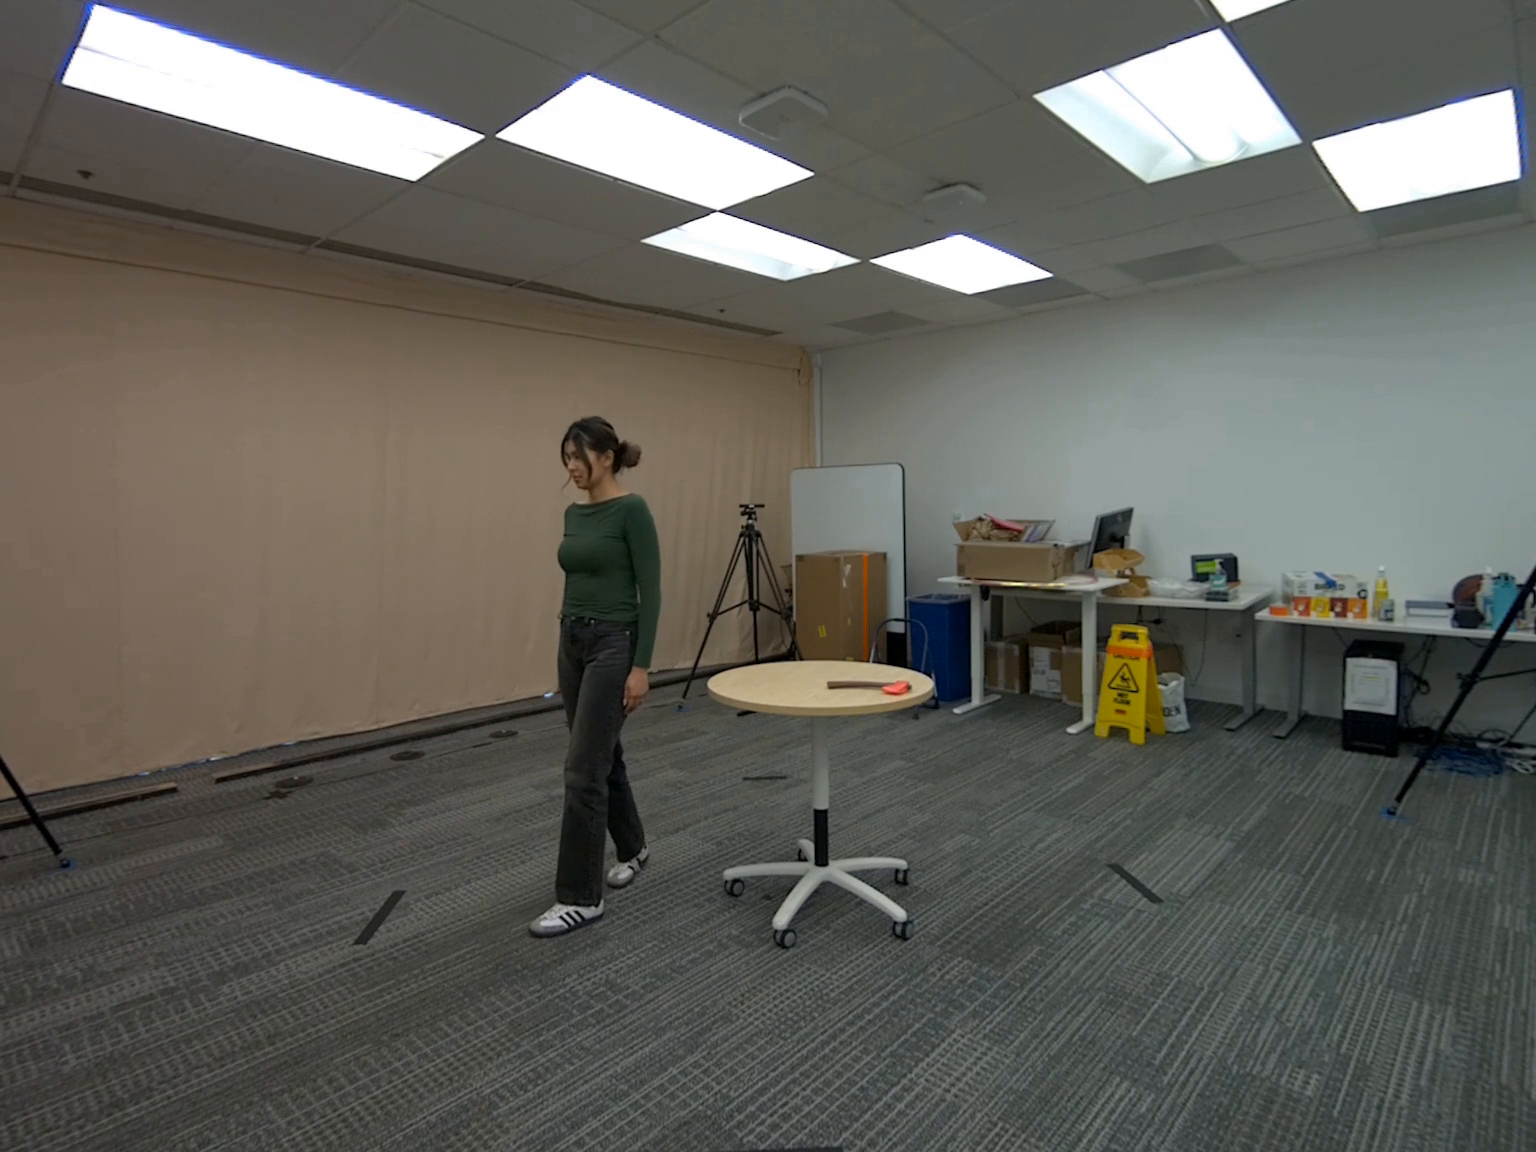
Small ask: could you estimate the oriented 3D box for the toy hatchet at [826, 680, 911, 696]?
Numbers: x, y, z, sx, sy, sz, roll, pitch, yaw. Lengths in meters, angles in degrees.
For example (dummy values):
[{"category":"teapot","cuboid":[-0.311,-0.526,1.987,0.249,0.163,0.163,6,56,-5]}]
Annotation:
[{"category":"toy hatchet","cuboid":[0.329,0.363,2.700,0.271,0.029,0.131,-3,7,5]}]
